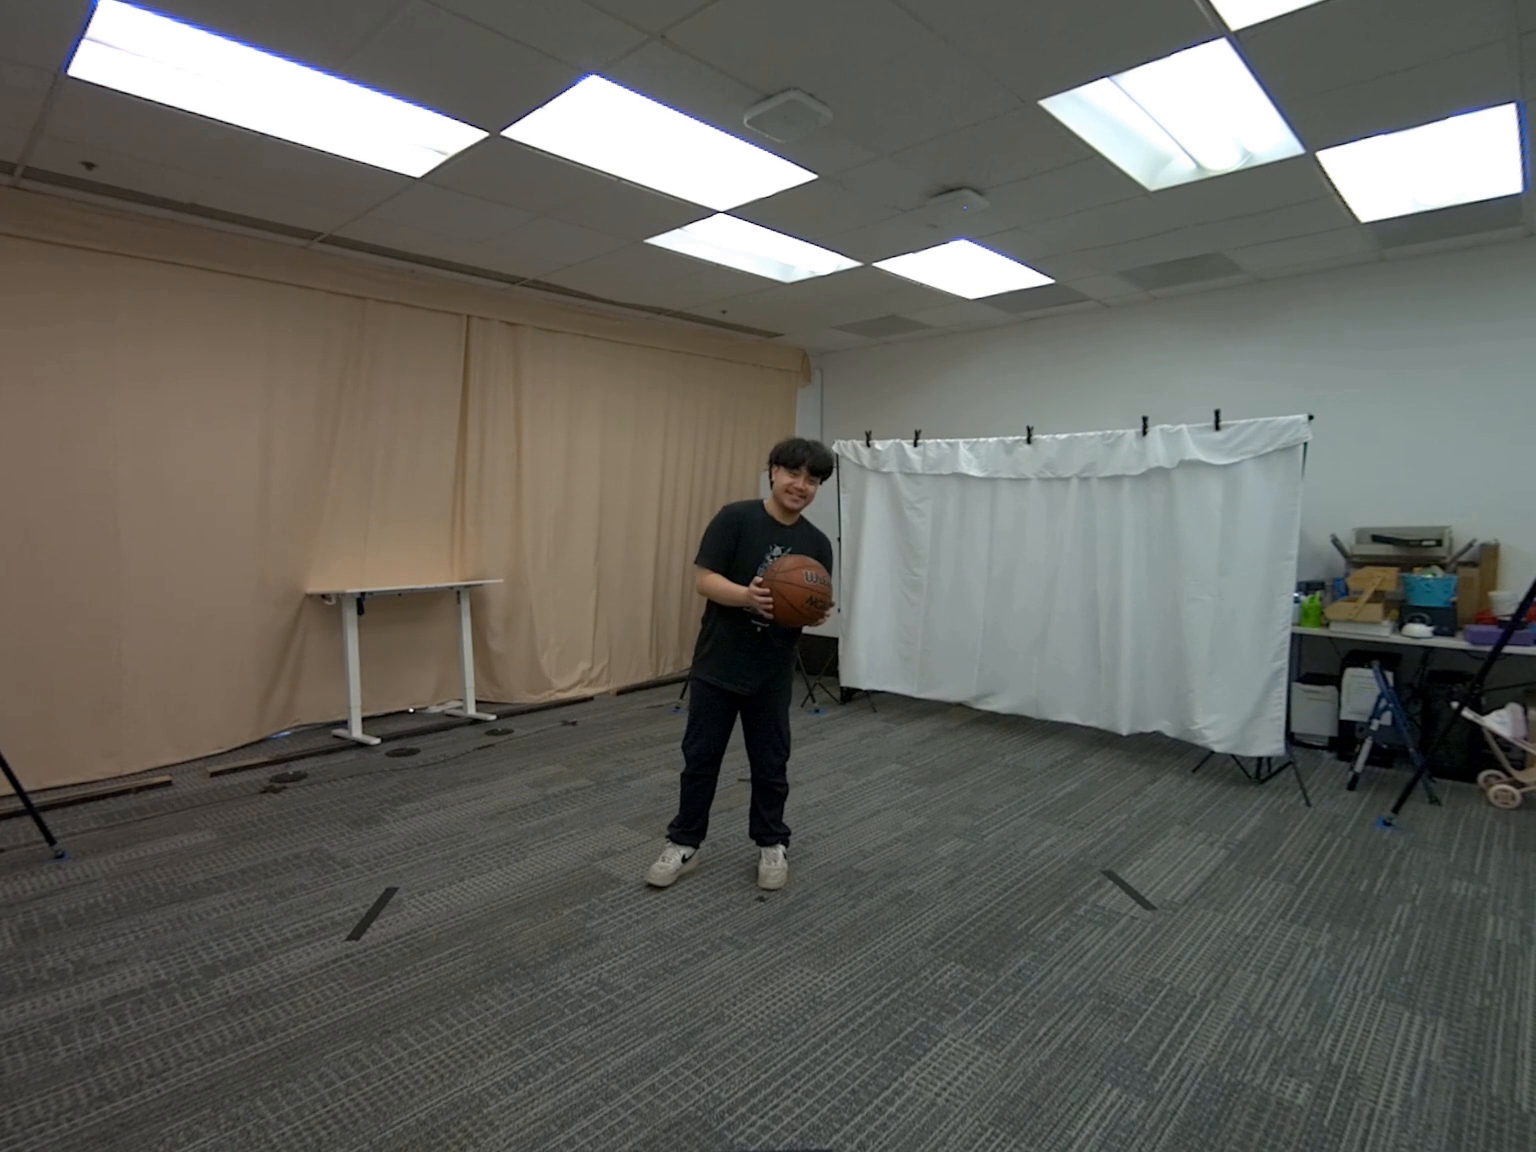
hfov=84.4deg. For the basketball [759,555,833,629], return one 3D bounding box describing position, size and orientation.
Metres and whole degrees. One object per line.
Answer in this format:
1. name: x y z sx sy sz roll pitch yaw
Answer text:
1. basketball: 0.088 0.048 2.775 0.236 0.235 0.237 0 4 -2
